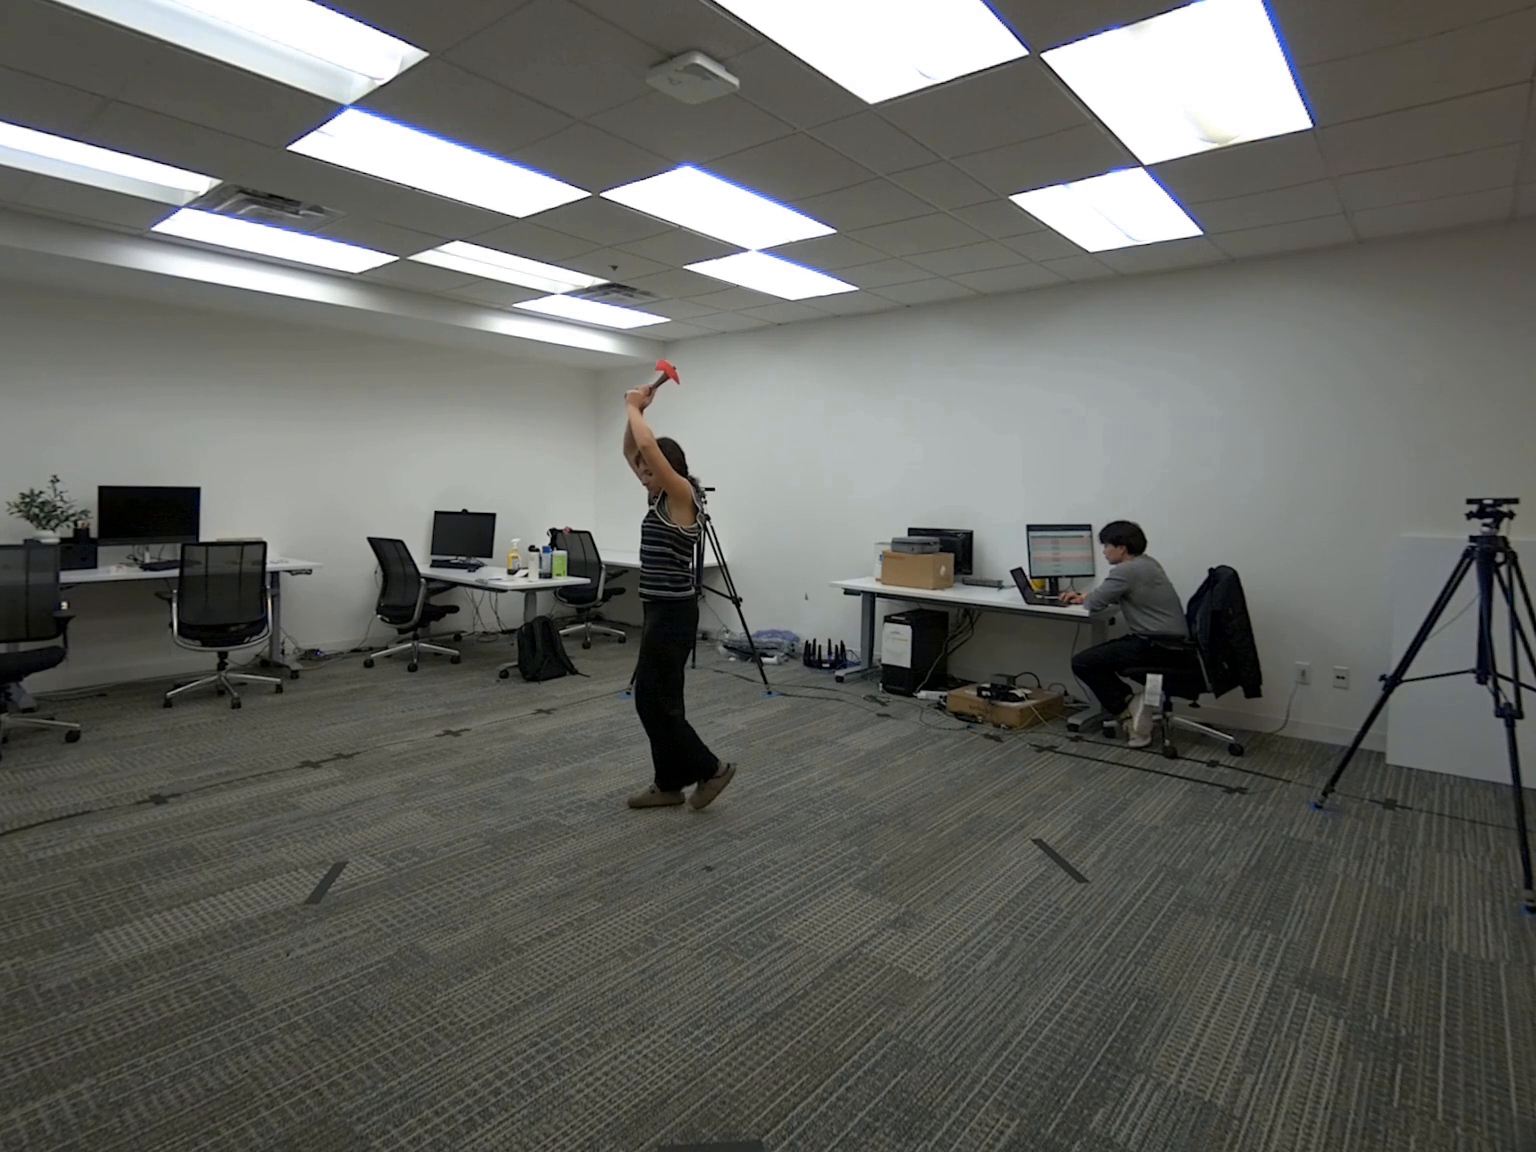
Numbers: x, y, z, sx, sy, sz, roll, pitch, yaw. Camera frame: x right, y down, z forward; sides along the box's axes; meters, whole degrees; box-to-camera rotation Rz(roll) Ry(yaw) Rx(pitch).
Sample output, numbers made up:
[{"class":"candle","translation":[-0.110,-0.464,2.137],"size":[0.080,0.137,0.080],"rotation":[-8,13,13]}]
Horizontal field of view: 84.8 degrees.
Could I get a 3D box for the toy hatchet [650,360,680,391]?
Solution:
[{"class":"toy hatchet","translation":[-0.517,-0.840,3.618],"size":[0.267,0.128,0.030],"rotation":[-26,18,-21]}]
